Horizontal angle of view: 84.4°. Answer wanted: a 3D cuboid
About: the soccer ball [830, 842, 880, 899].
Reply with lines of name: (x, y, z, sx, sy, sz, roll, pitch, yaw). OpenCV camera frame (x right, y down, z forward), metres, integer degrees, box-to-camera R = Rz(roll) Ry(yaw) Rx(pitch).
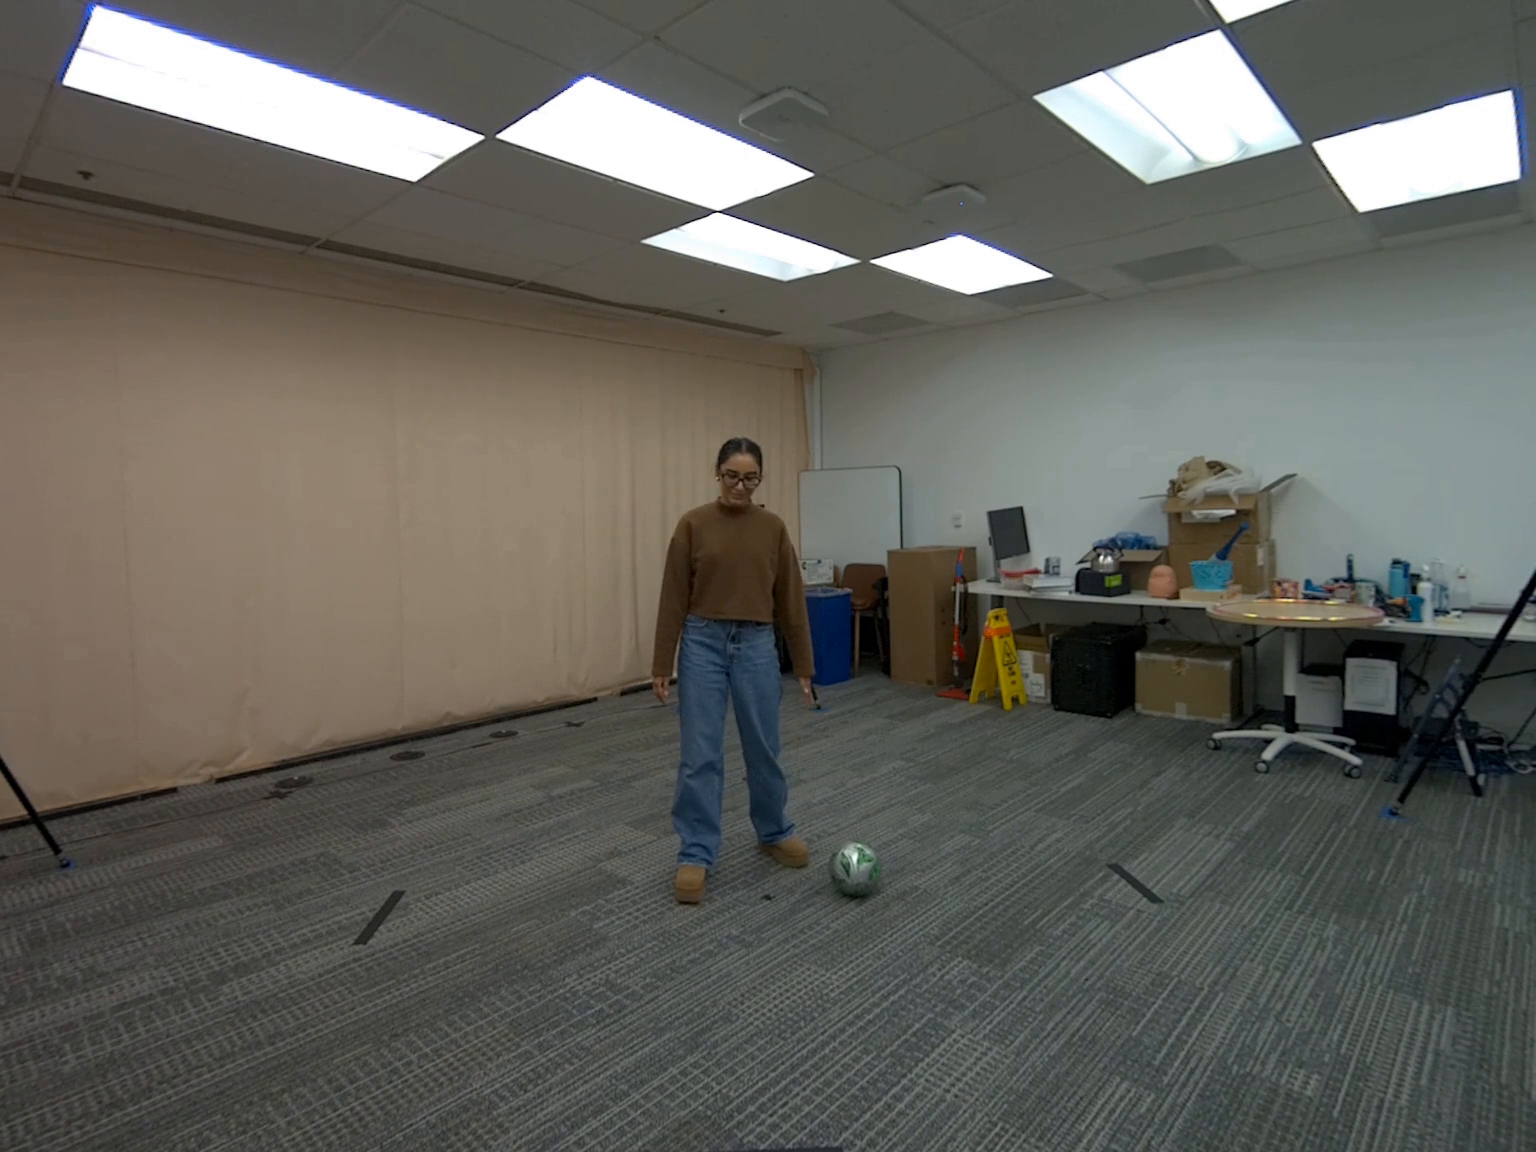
soccer ball: (0.311, 1.040, 3.000, 0.187, 0.187, 0.188, -1, 4, -2)
